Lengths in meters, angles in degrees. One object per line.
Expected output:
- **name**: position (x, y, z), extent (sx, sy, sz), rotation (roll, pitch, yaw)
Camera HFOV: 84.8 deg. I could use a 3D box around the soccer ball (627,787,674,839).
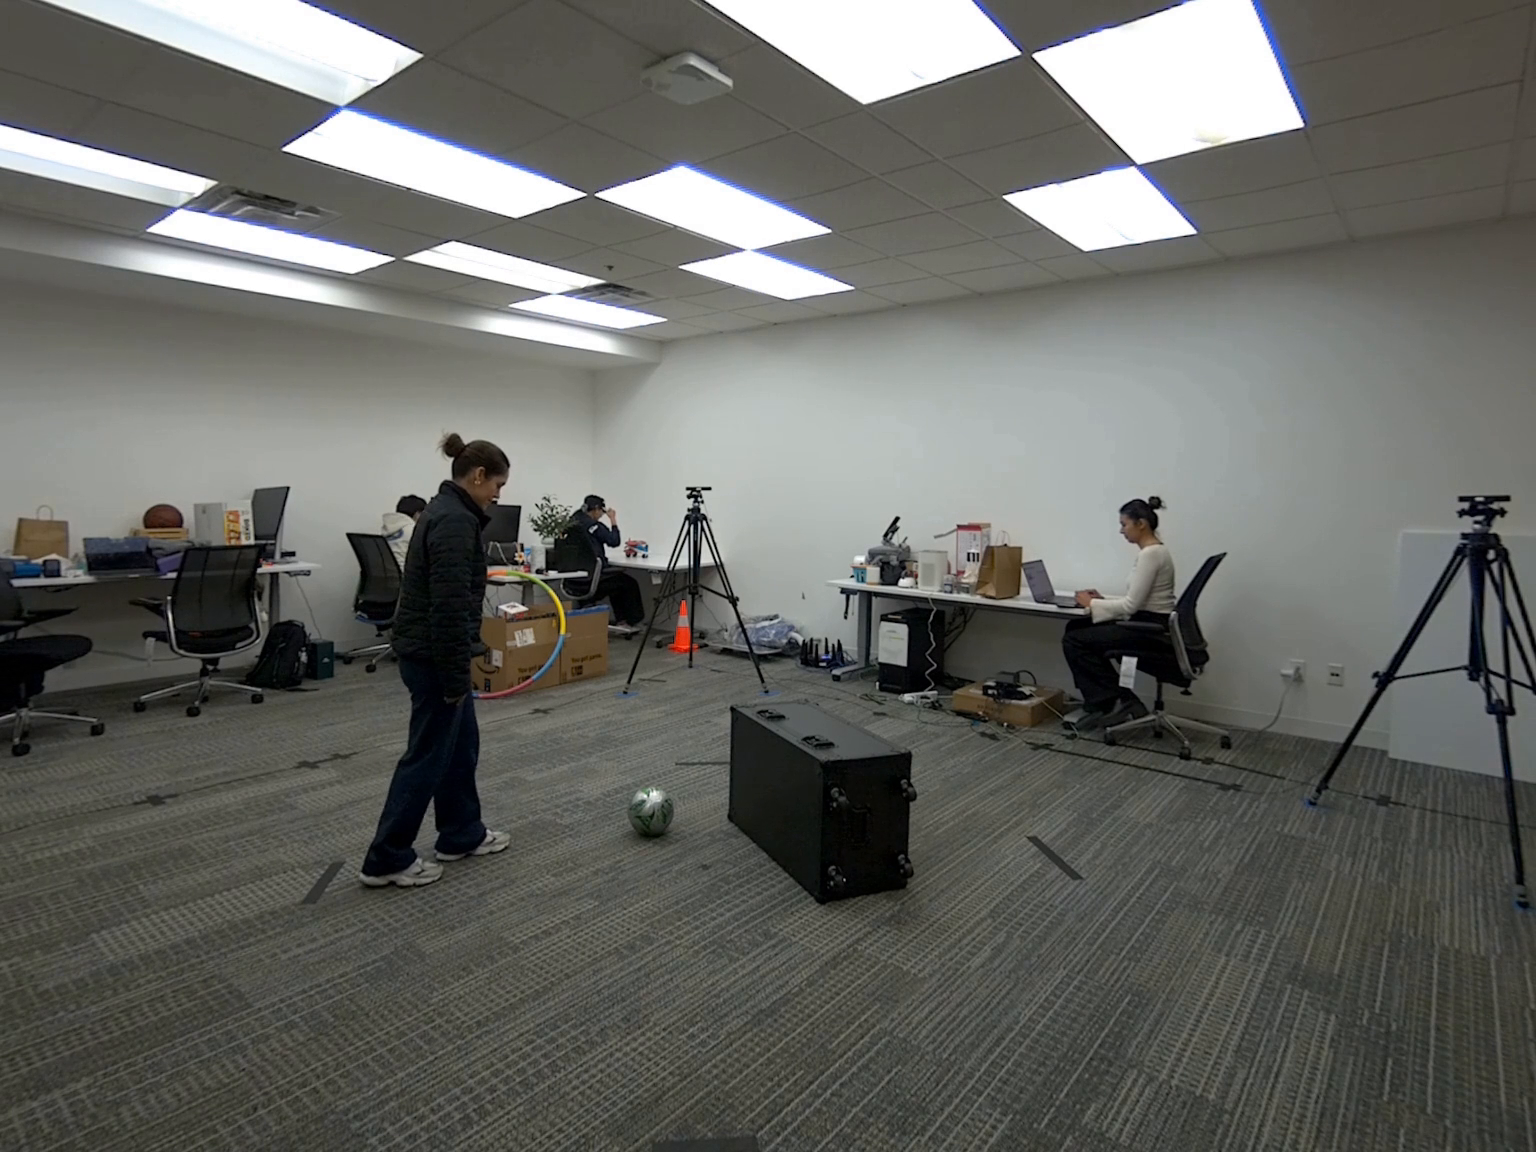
- **soccer ball**: position (-0.480, 0.945, 3.419), extent (0.187, 0.187, 0.188), rotation (1, 4, -2)
